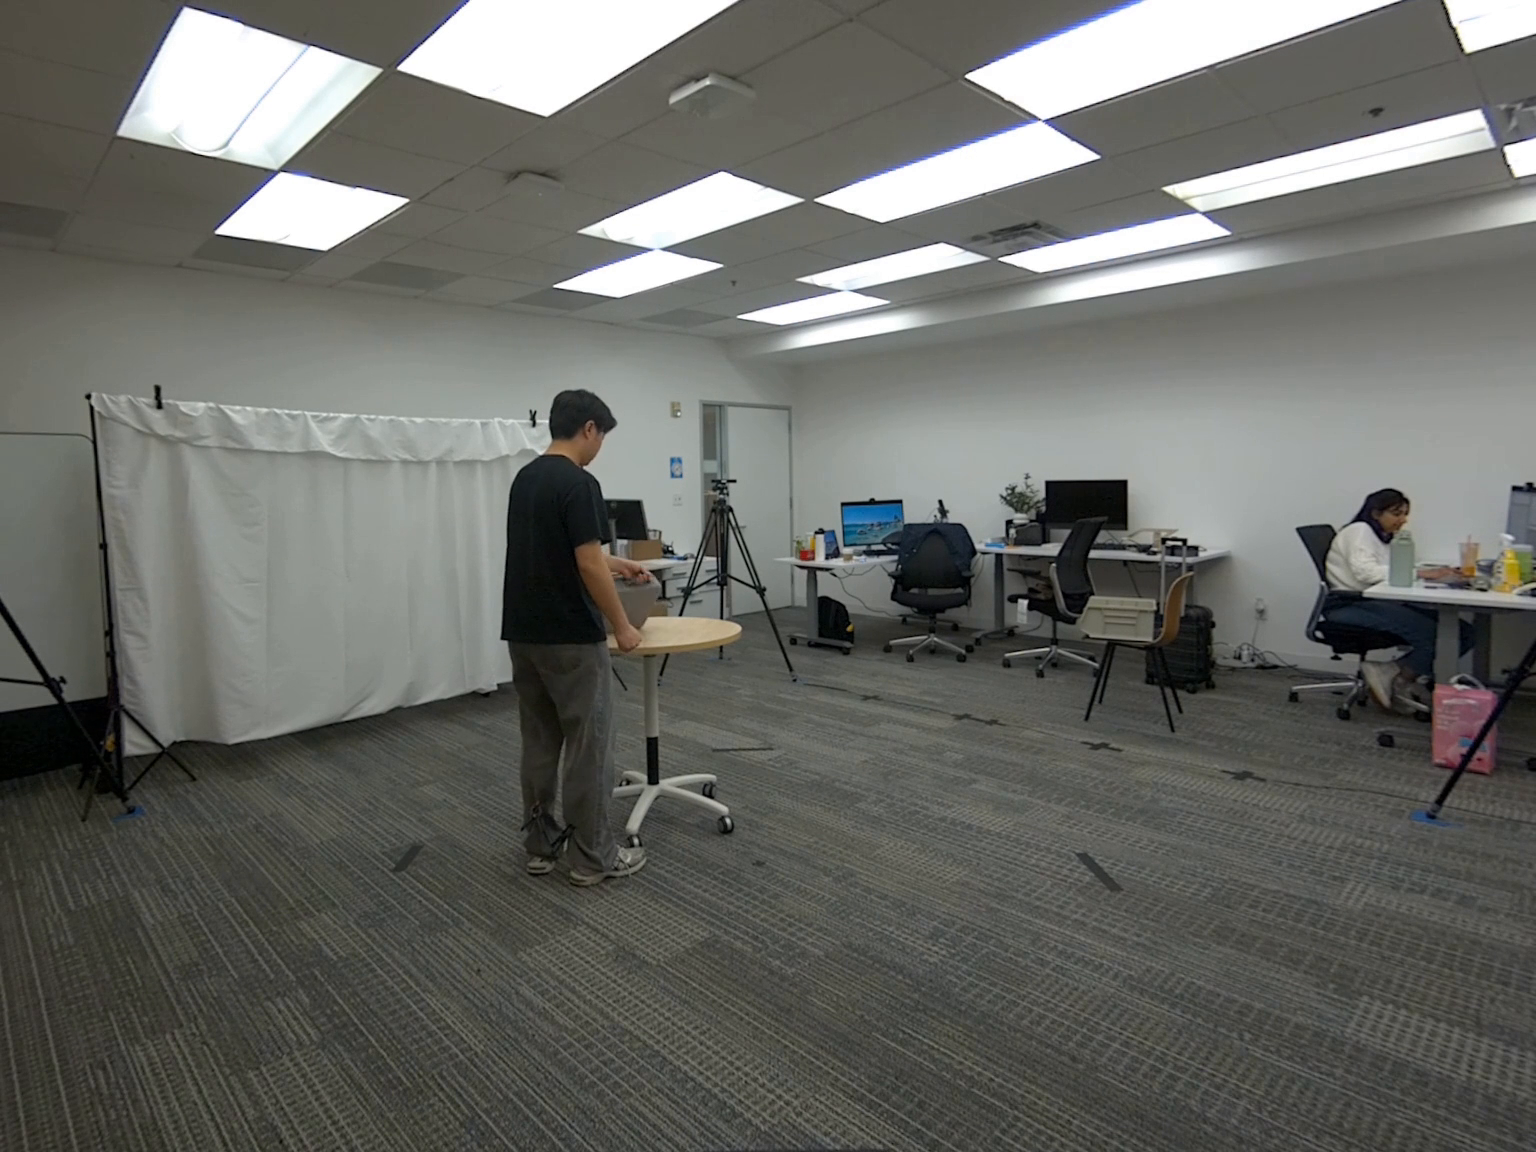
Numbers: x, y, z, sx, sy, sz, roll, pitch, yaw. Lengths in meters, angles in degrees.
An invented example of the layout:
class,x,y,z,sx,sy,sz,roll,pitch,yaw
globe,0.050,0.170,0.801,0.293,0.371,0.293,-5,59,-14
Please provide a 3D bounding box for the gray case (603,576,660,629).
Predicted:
class,x,y,z,sx,sy,sz,roll,pitch,yaw
gray case,-0.585,0.109,3.482,0.256,0.284,0.107,-6,45,-44
